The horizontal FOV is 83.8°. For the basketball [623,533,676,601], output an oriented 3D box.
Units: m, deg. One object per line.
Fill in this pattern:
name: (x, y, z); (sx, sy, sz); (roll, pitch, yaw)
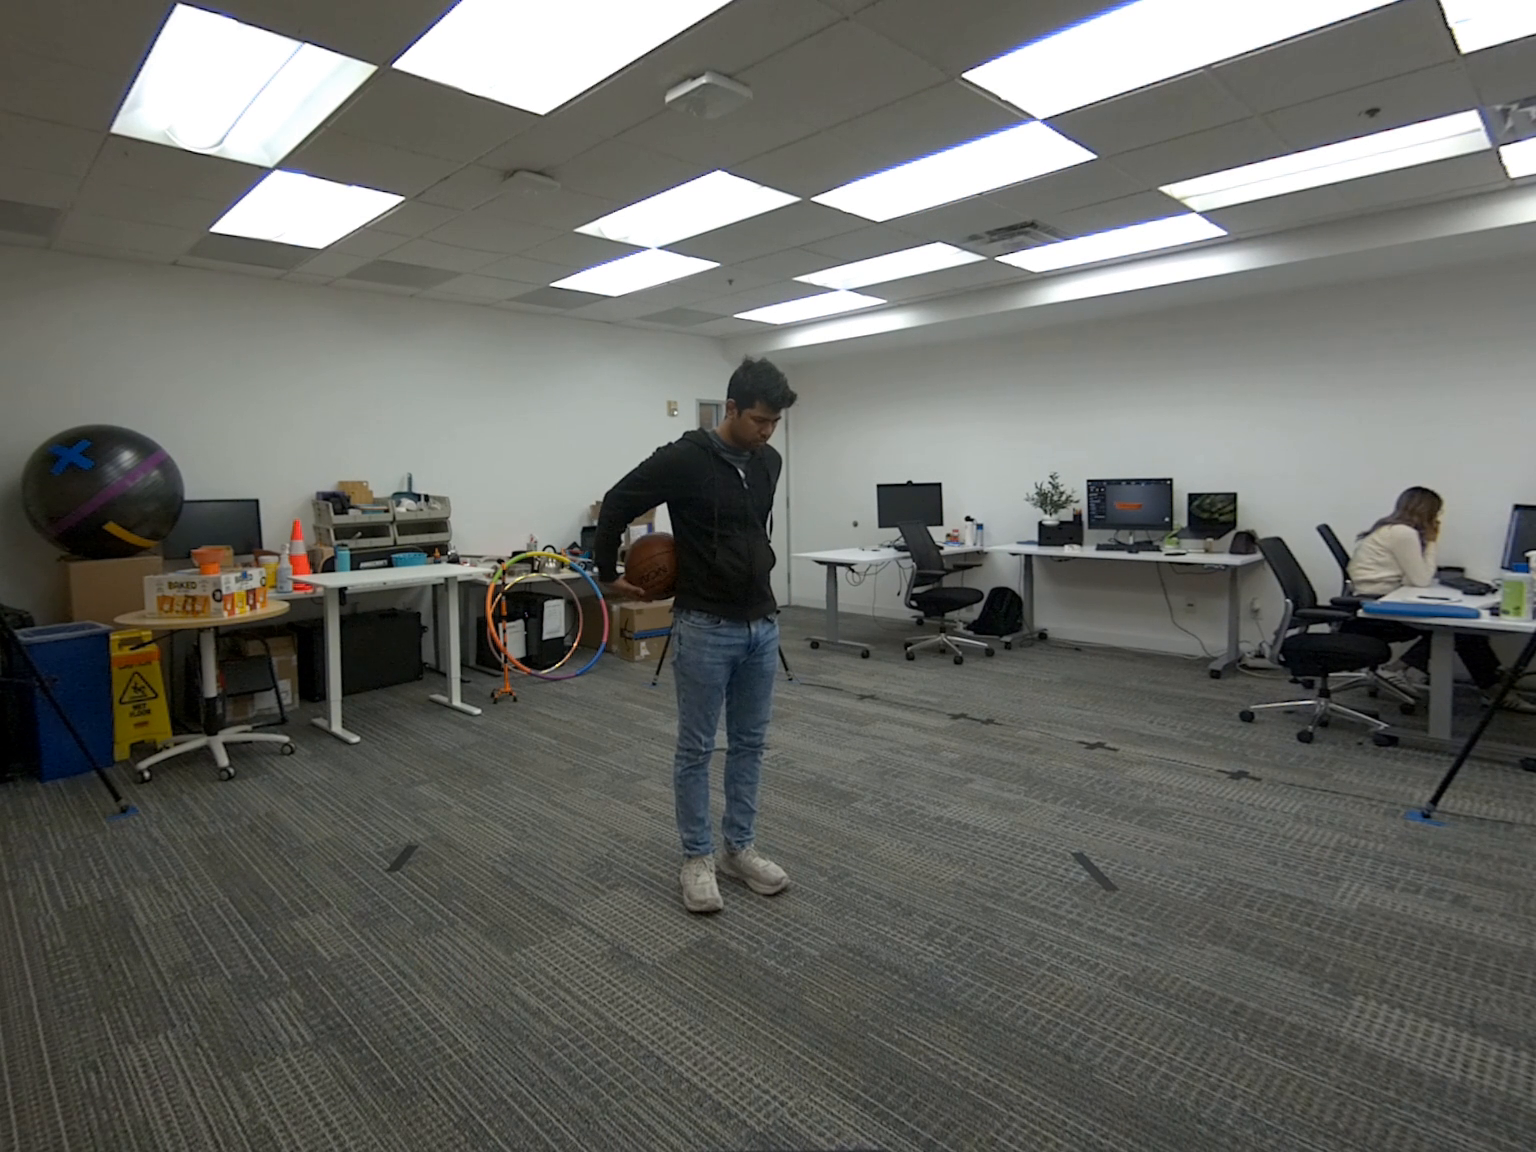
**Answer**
basketball: (-0.363, -0.040, 2.960); (0.236, 0.235, 0.237); (-1, 5, -2)
